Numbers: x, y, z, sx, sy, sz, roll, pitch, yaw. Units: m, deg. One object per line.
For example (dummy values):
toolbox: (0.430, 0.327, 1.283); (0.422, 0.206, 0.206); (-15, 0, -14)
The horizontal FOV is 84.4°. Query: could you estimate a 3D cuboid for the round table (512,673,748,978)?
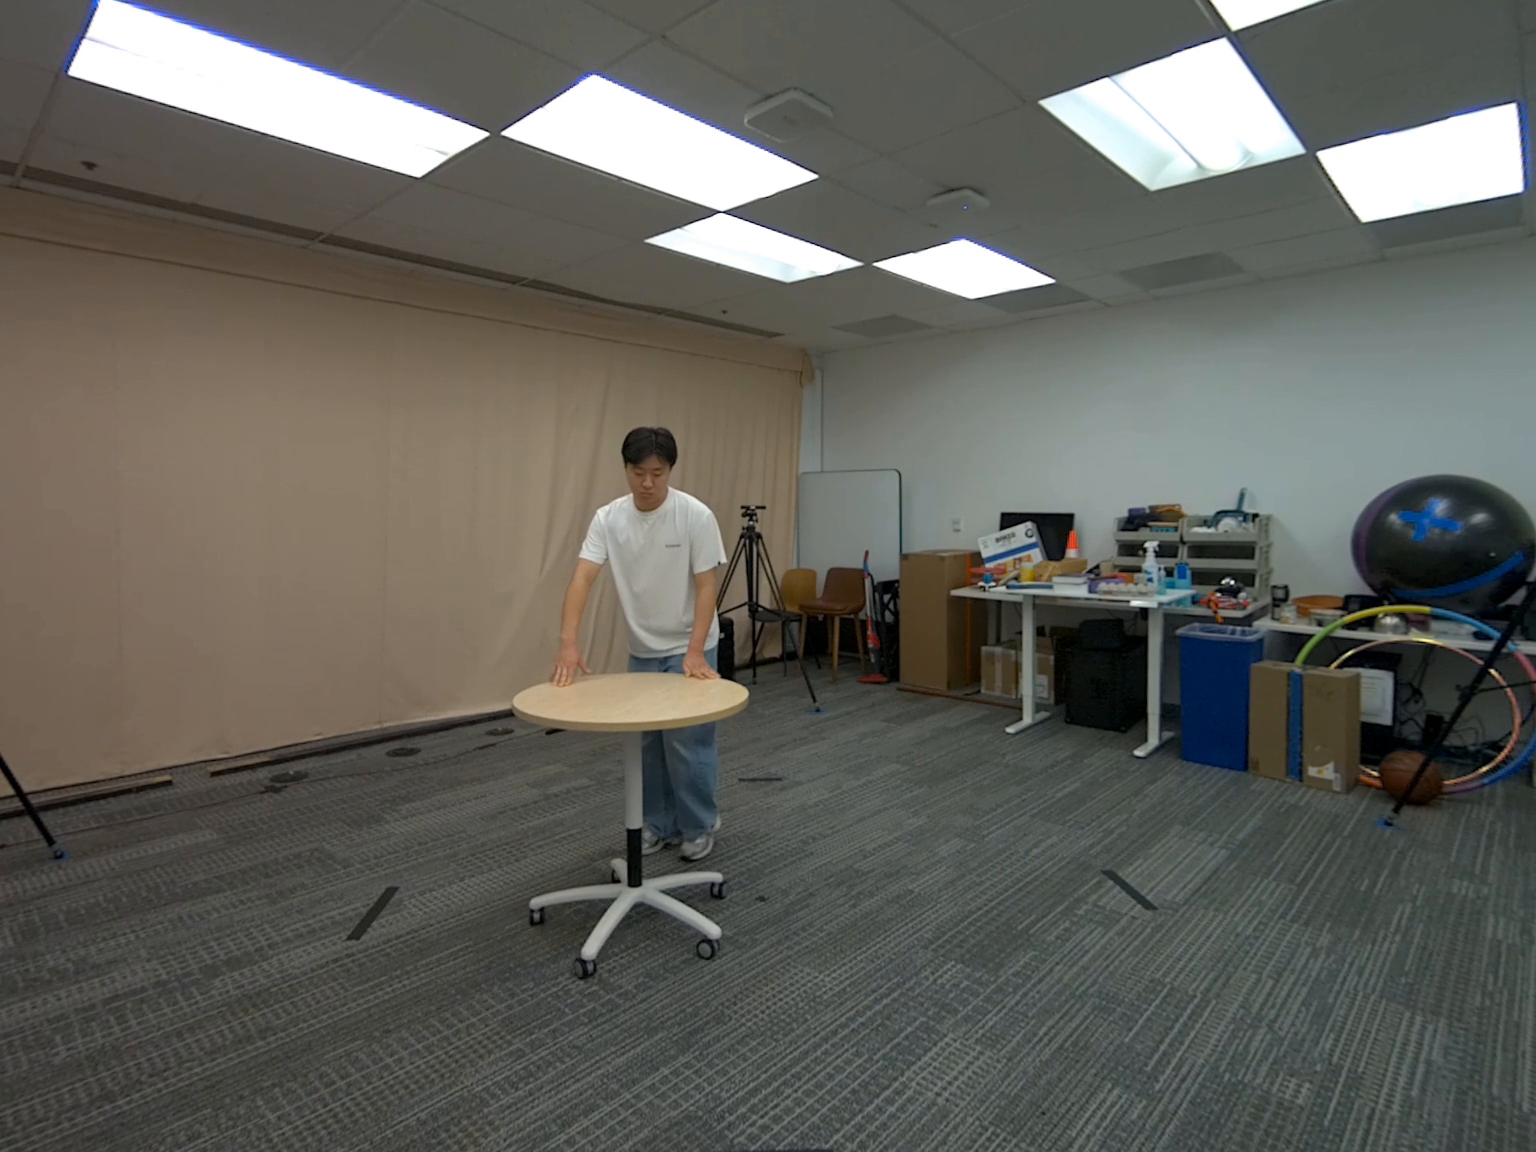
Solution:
round table: (-0.445, 0.776, 2.782); (0.763, 0.792, 0.766); (-1, 3, -2)
